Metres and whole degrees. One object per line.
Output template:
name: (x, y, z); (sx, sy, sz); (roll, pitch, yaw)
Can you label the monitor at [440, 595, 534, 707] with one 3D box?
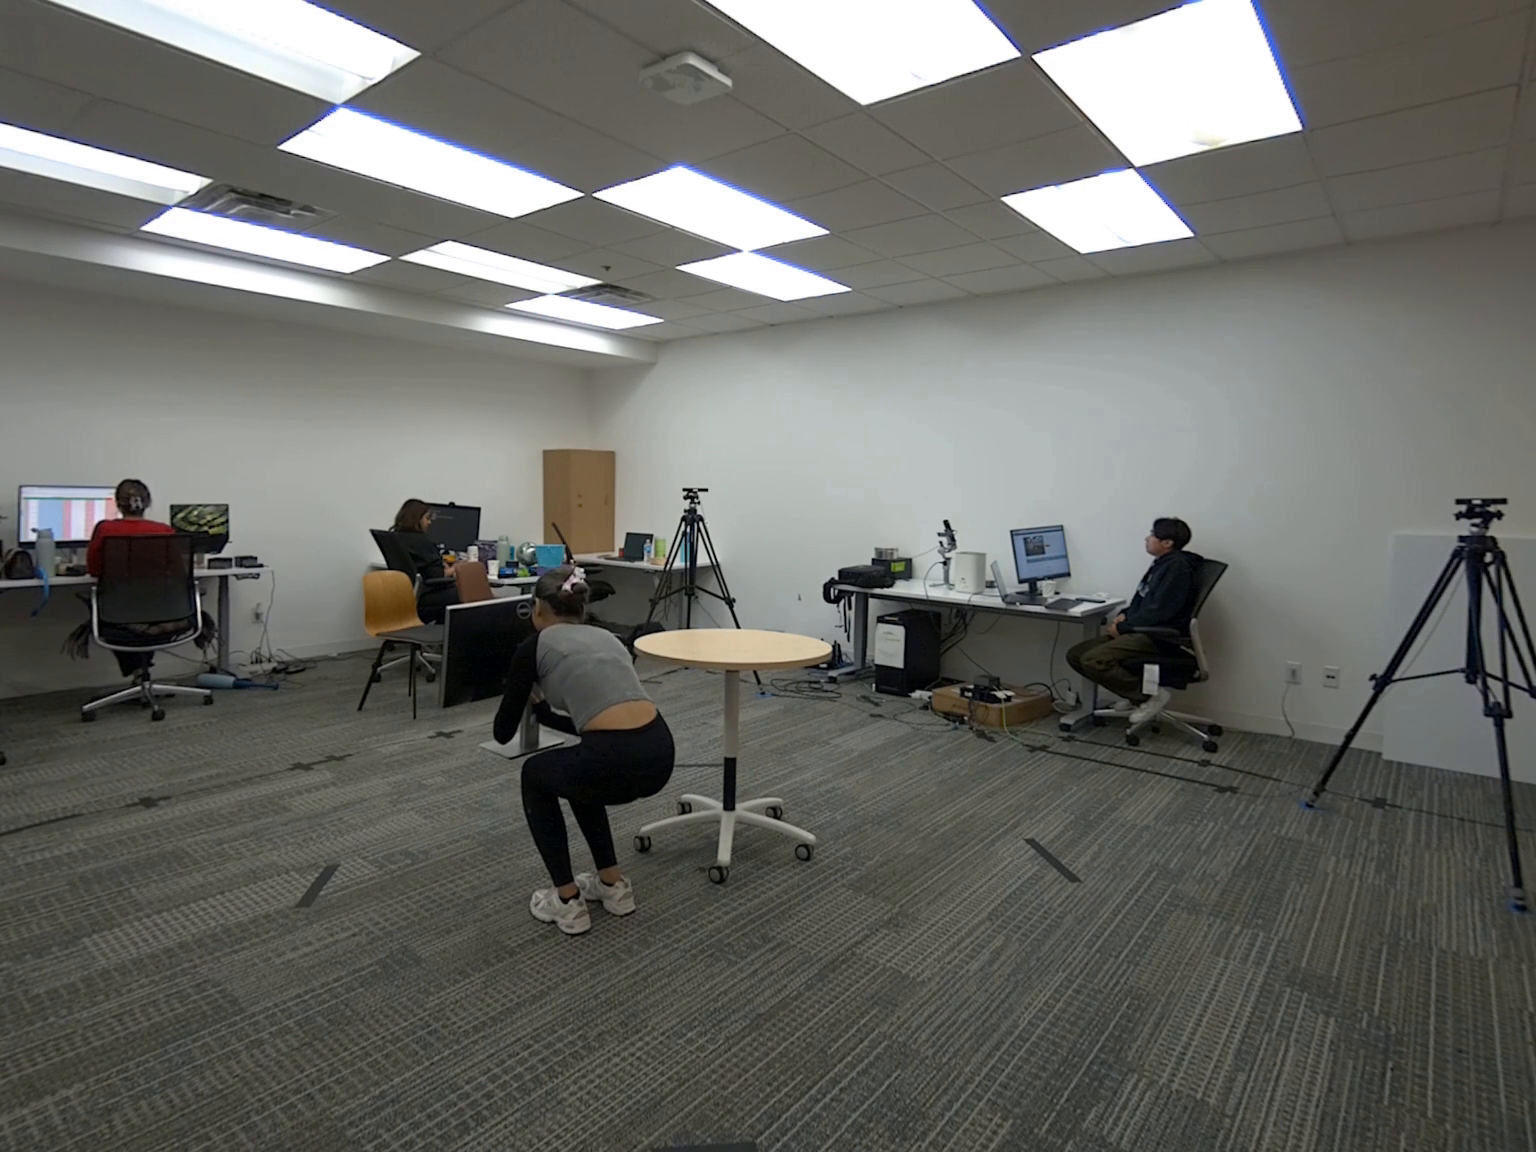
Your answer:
monitor: (-0.890, 0.343, 3.029); (0.193, 0.520, 0.524); (2, 7, 41)
